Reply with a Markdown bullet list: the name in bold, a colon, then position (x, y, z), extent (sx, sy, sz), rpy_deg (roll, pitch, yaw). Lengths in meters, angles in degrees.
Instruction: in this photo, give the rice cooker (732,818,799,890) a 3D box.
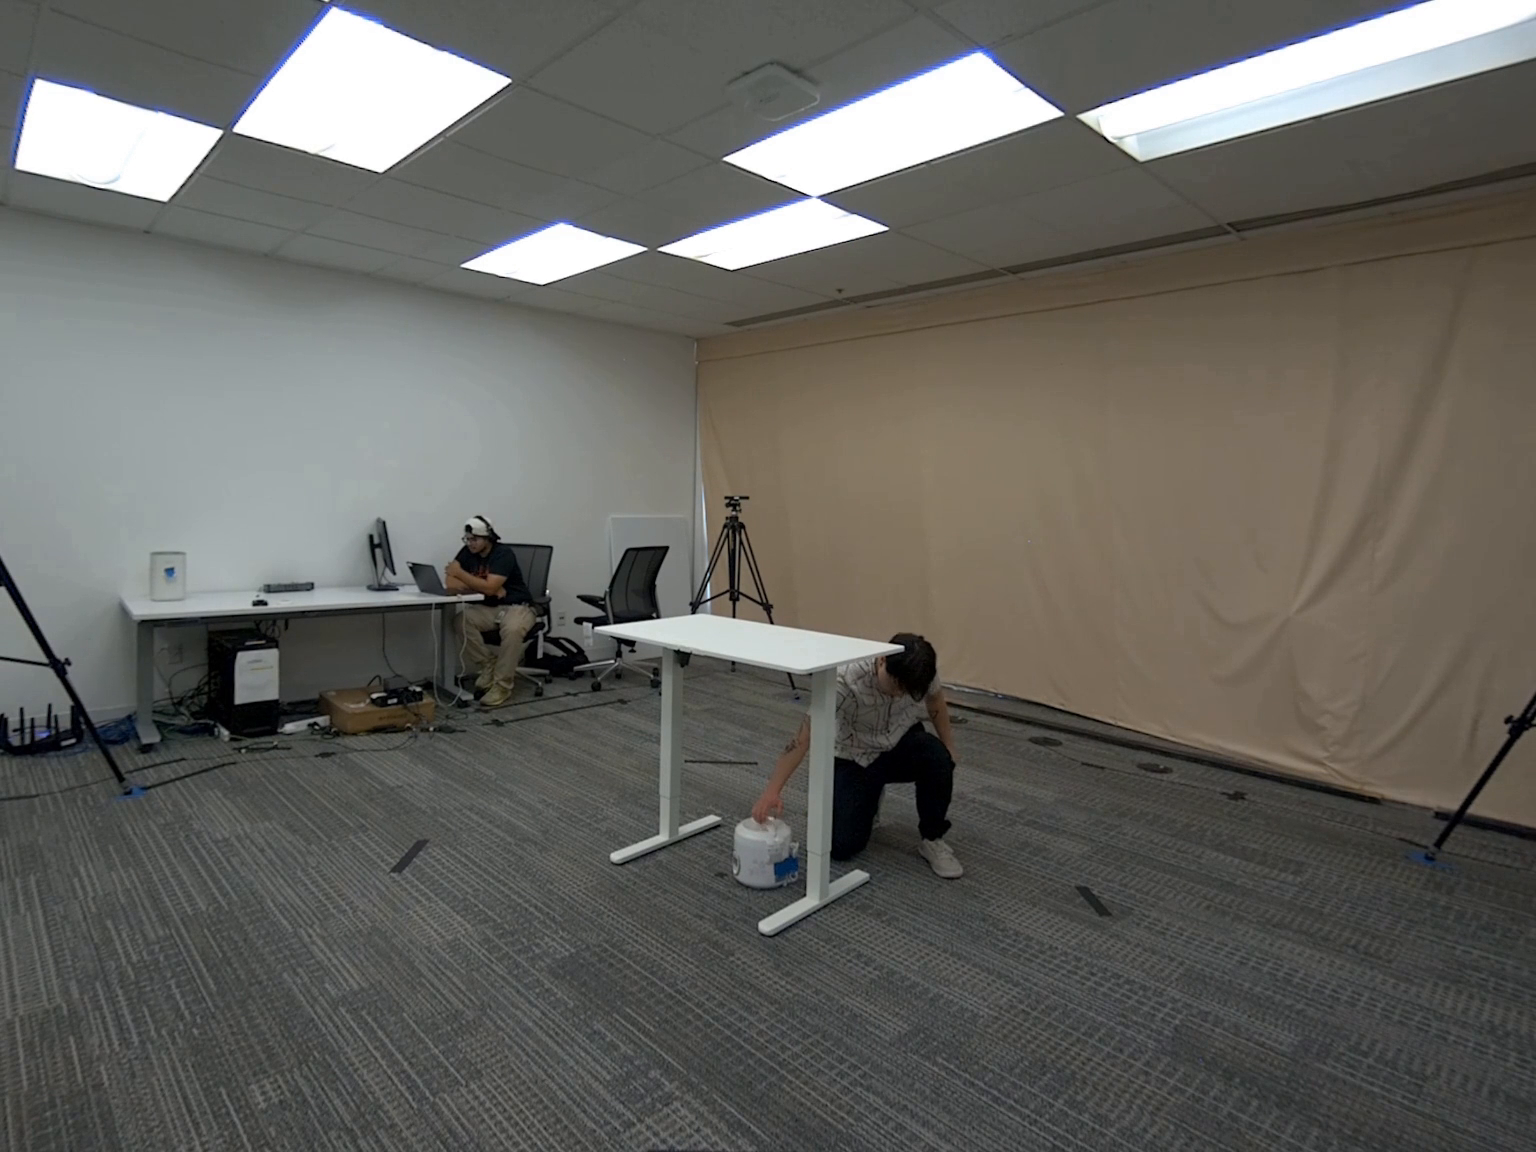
- **rice cooker**: position (-0.027, 0.993, 3.065), extent (0.214, 0.232, 0.225), rpy_deg (0, 4, -24)
